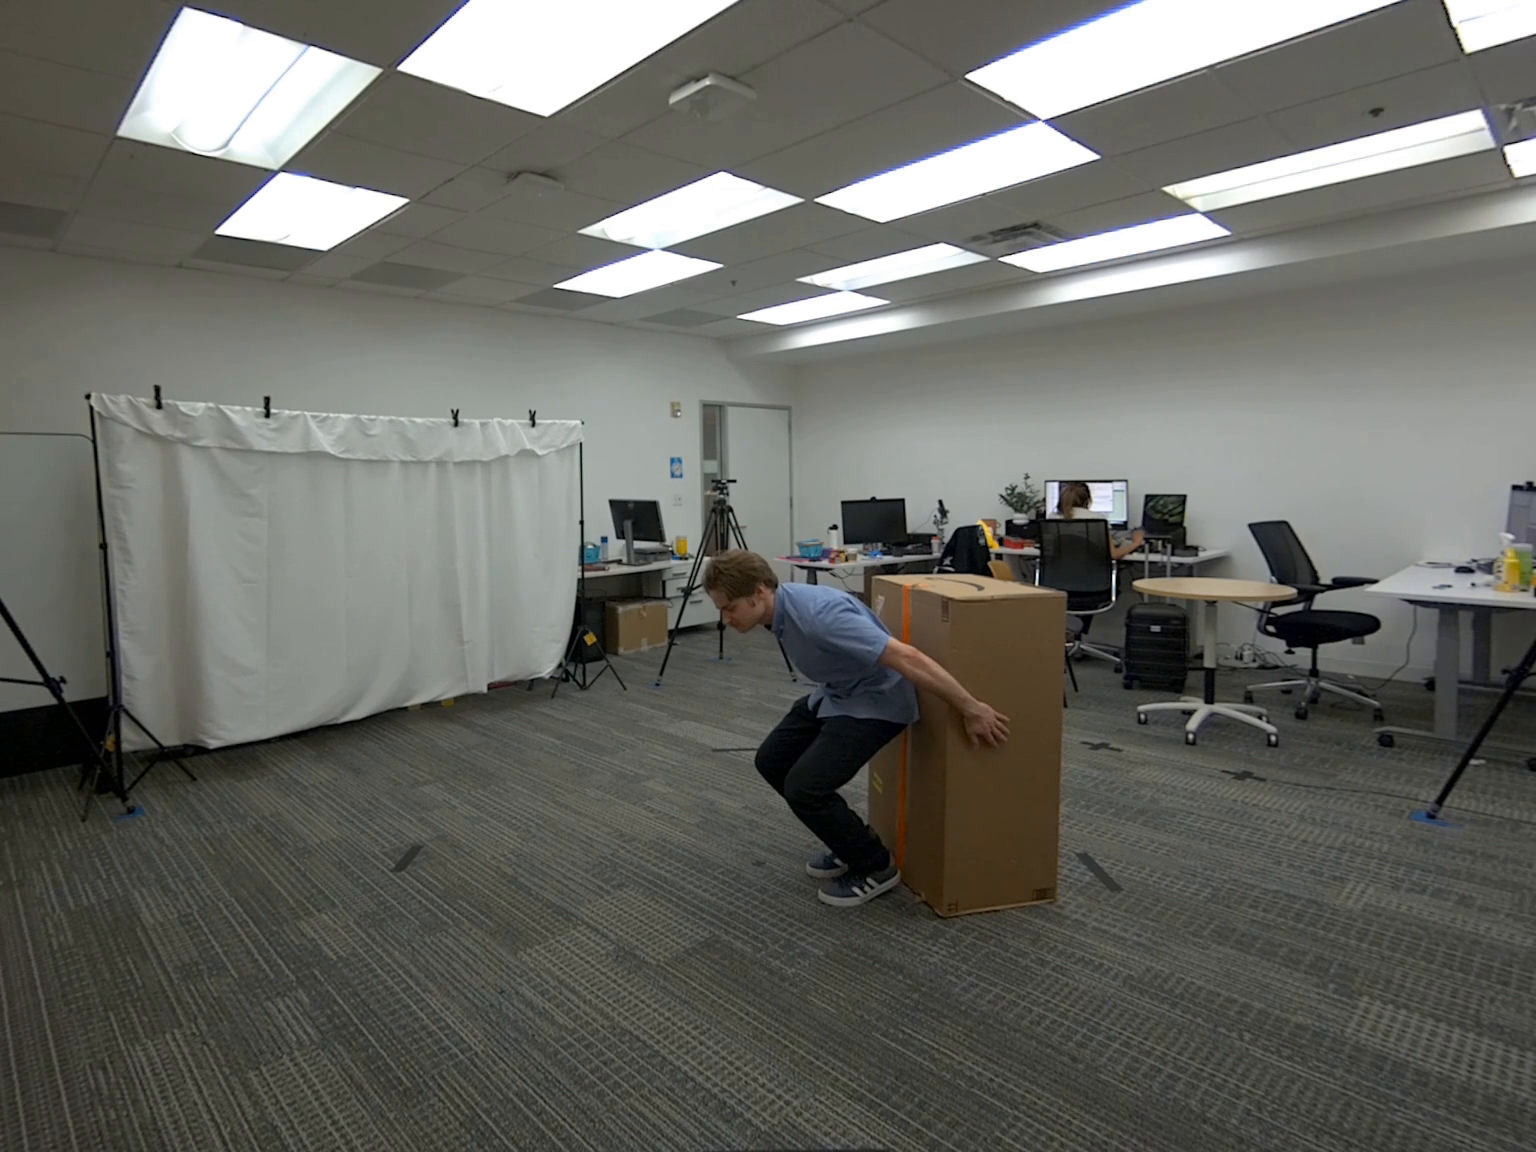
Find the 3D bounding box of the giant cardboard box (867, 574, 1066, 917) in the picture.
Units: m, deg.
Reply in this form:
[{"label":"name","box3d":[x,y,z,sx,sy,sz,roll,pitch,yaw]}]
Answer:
[{"label":"giant cardboard box","box3d":[0.667,0.537,2.988,0.440,1.023,0.595,0,4,-17]}]
